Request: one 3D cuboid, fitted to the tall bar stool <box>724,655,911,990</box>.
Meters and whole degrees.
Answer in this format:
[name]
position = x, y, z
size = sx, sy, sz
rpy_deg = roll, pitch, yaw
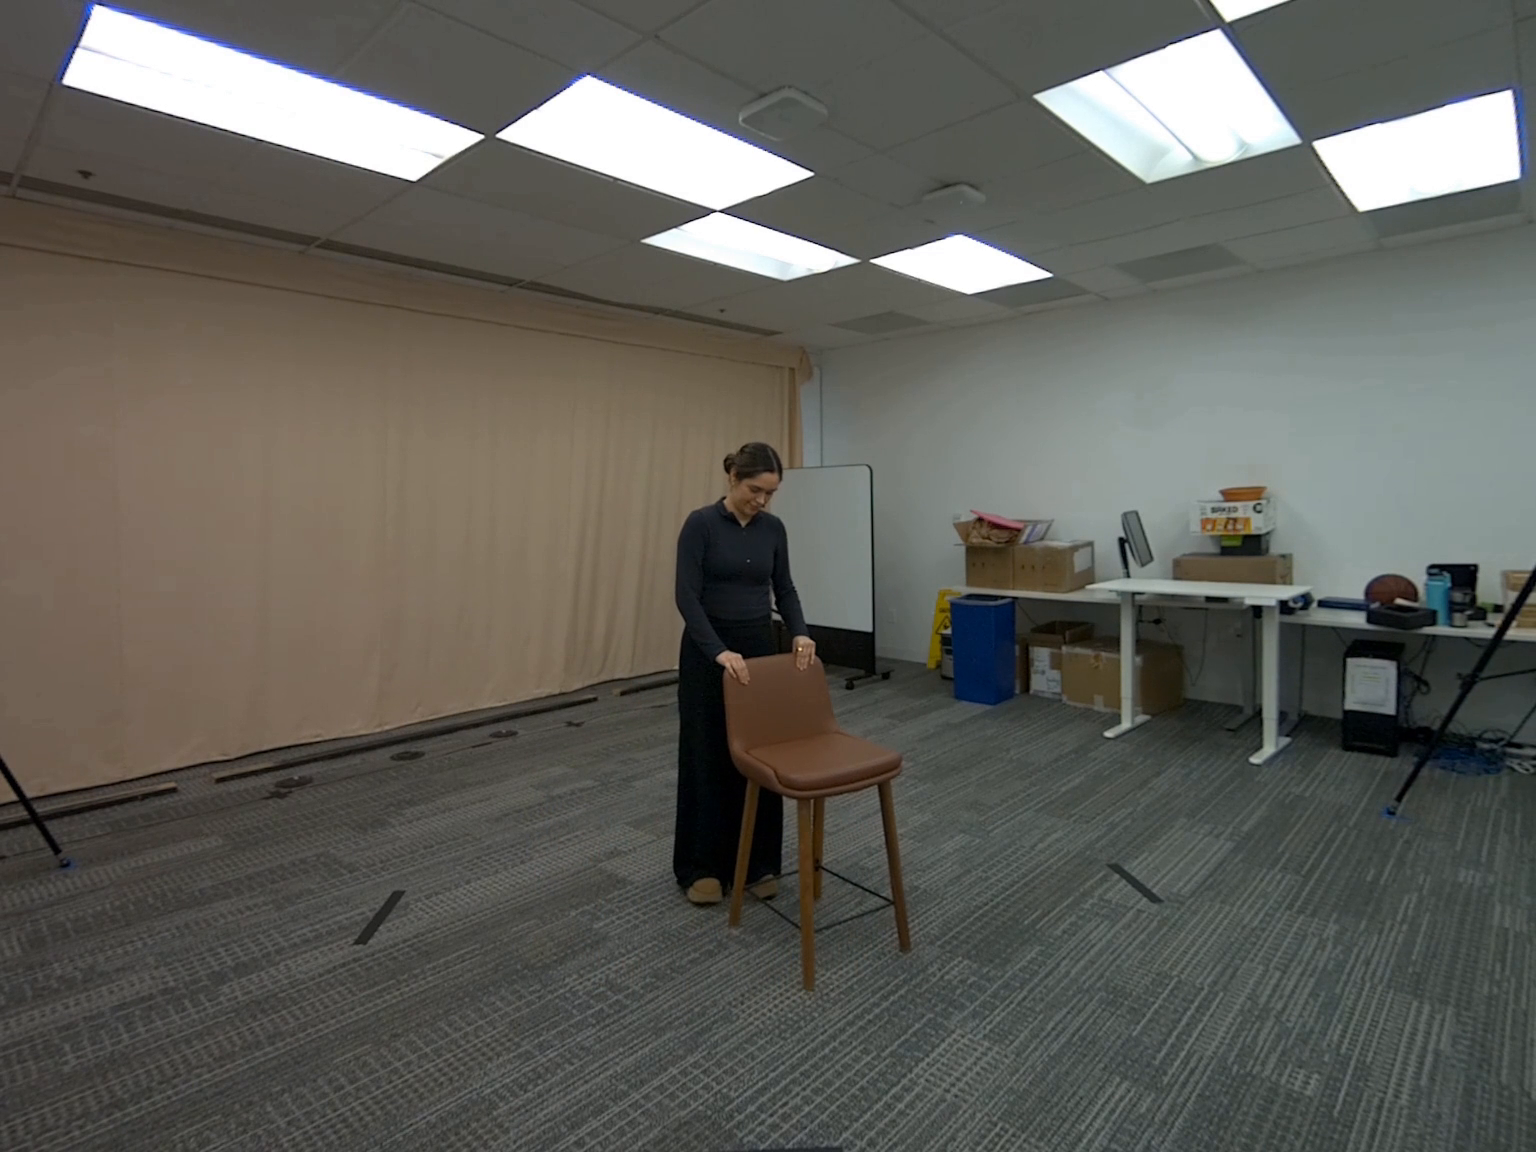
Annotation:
[tall bar stool]
position = 0.146, 0.724, 2.682
size = 0.444, 0.889, 0.481
rpy_deg = -3, 2, -33
